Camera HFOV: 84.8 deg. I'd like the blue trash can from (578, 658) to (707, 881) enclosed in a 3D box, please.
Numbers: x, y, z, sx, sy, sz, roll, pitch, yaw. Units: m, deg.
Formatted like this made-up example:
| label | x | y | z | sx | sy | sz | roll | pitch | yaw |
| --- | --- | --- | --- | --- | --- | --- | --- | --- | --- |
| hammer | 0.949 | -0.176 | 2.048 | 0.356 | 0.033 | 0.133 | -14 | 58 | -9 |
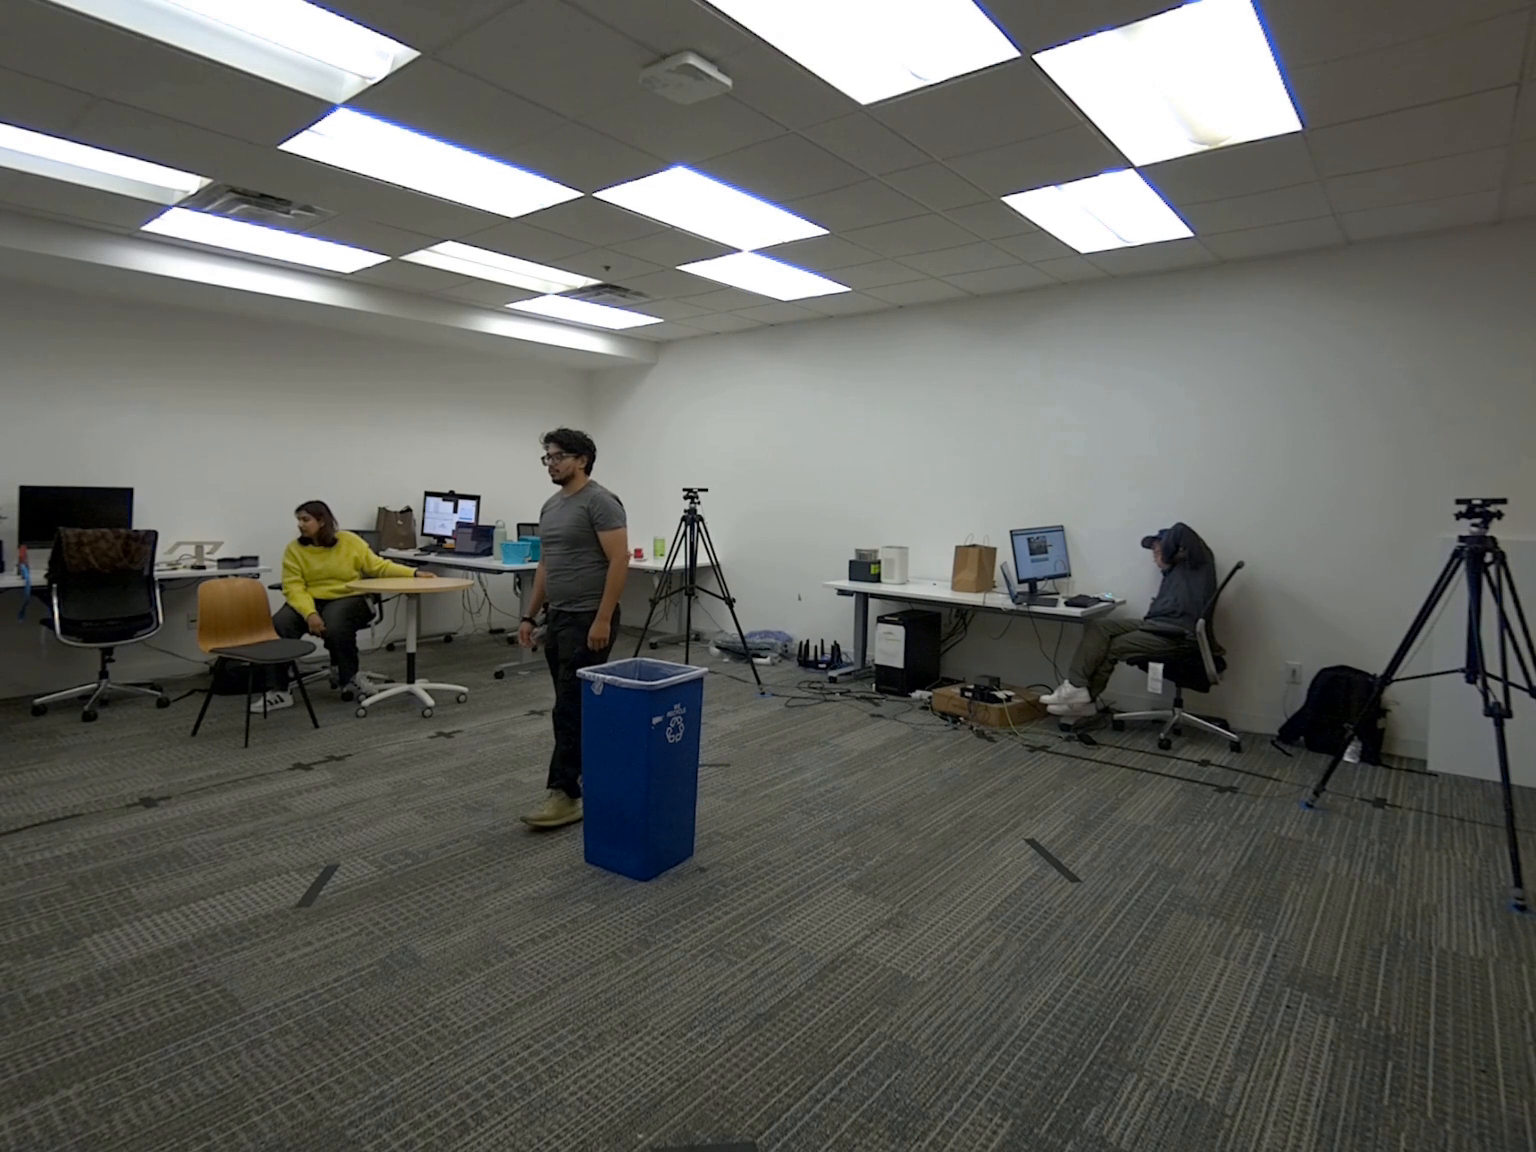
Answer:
| label | x | y | z | sx | sy | sz | roll | pitch | yaw |
| --- | --- | --- | --- | --- | --- | --- | --- | --- | --- |
| blue trash can | -0.482 | 0.699 | 3.186 | 0.390 | 0.712 | 0.364 | 3 | 4 | 32 |
